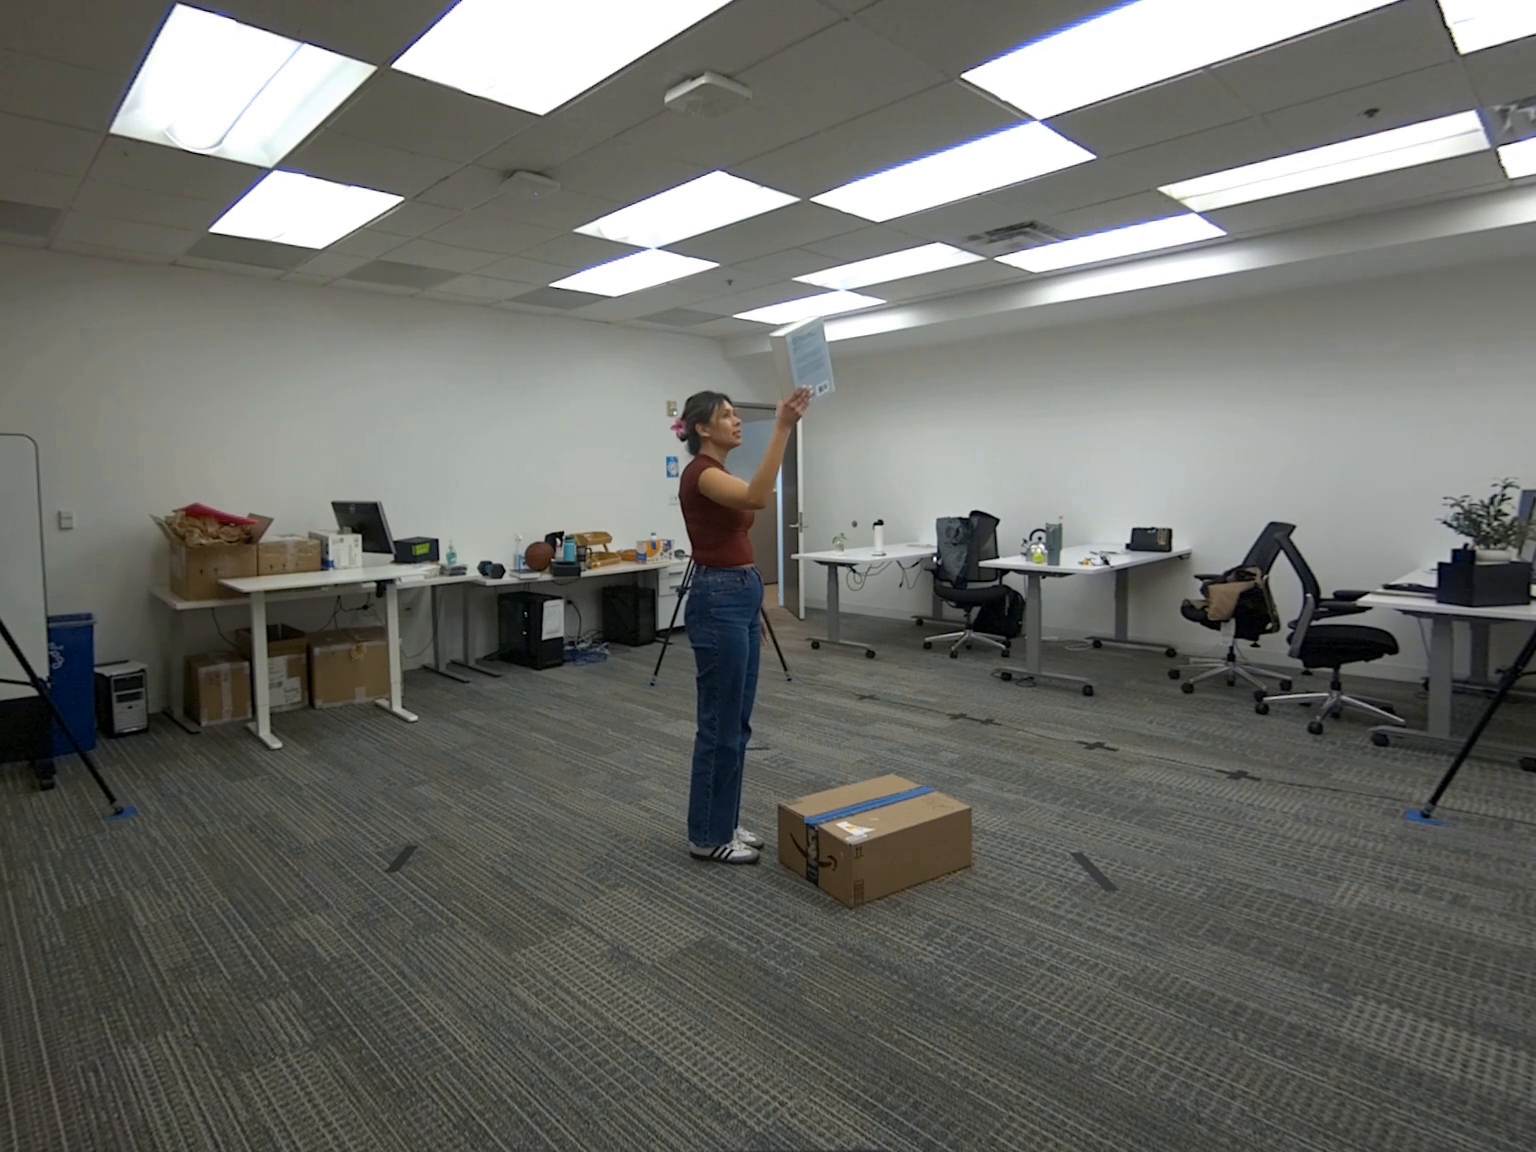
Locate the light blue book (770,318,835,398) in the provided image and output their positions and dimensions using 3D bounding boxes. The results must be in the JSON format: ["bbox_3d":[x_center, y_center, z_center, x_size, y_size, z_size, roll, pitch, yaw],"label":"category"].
[{"bbox_3d":[0.119,-0.690,2.794,0.190,0.254,0.061,-34,34,-33],"label":"light blue book"}]
